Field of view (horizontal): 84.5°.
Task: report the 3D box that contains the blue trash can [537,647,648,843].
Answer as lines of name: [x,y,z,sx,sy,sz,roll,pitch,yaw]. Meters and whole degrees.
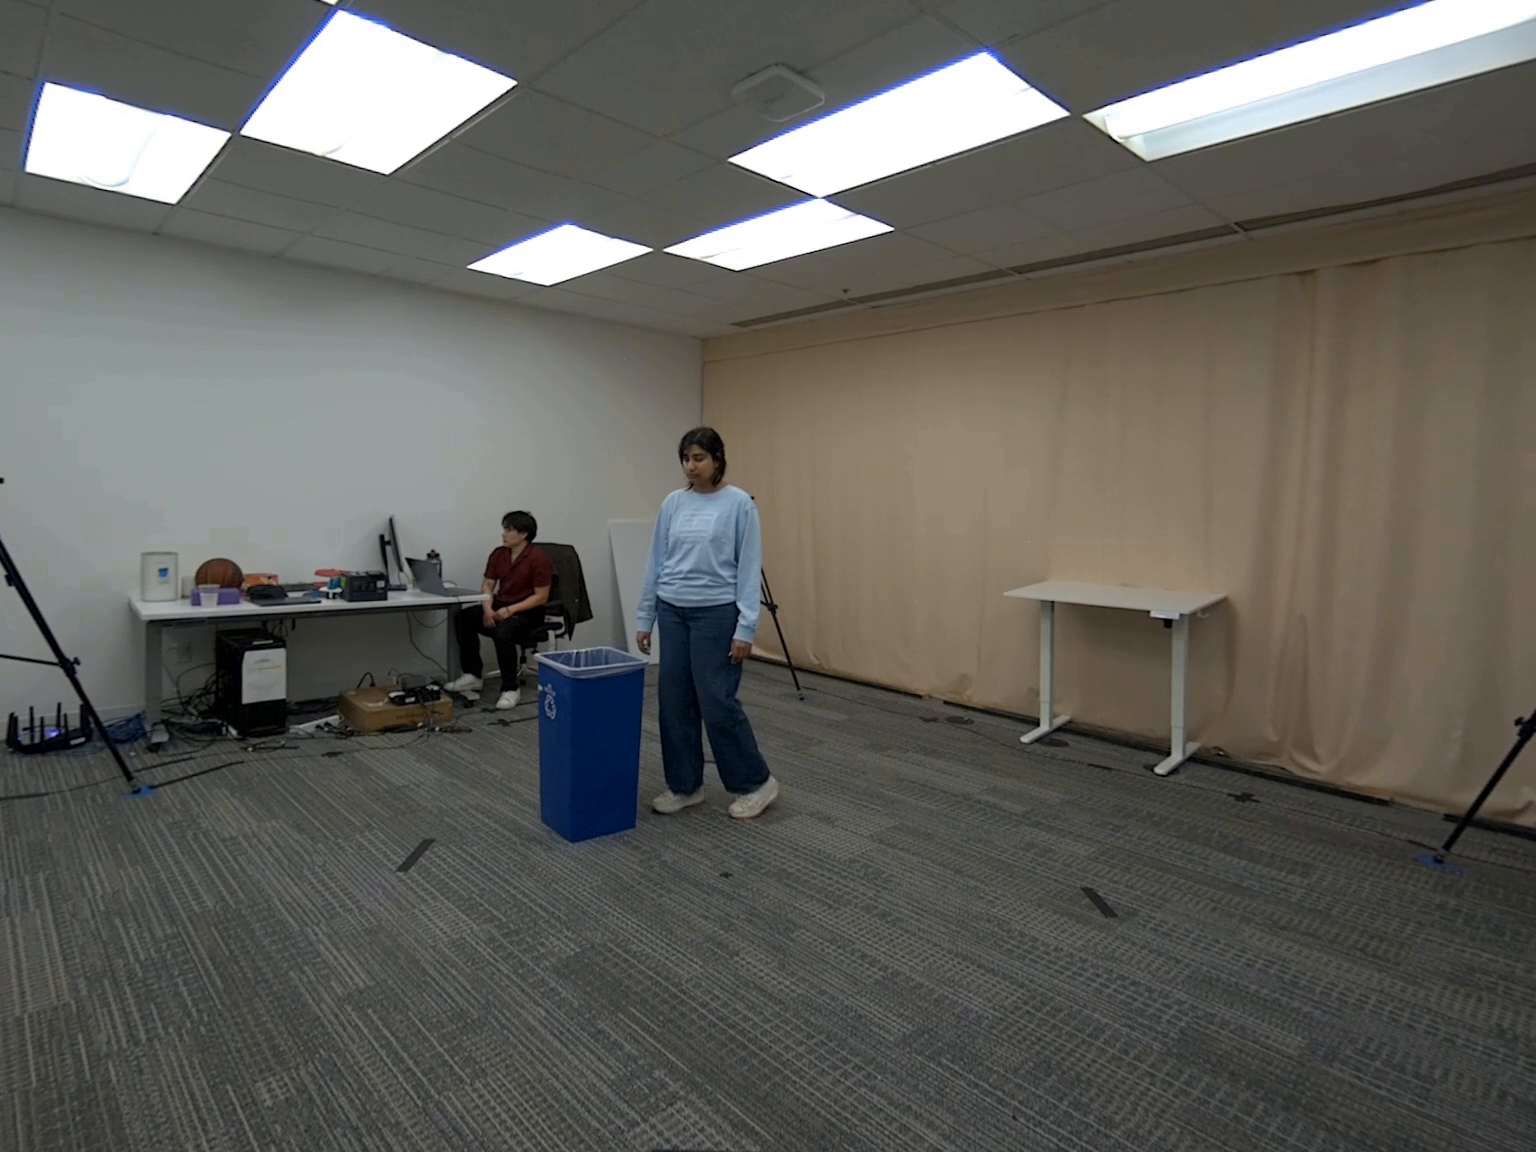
blue trash can: [-0.762,0.696,3.533,0.365,0.712,0.388,-1,5,-39]
